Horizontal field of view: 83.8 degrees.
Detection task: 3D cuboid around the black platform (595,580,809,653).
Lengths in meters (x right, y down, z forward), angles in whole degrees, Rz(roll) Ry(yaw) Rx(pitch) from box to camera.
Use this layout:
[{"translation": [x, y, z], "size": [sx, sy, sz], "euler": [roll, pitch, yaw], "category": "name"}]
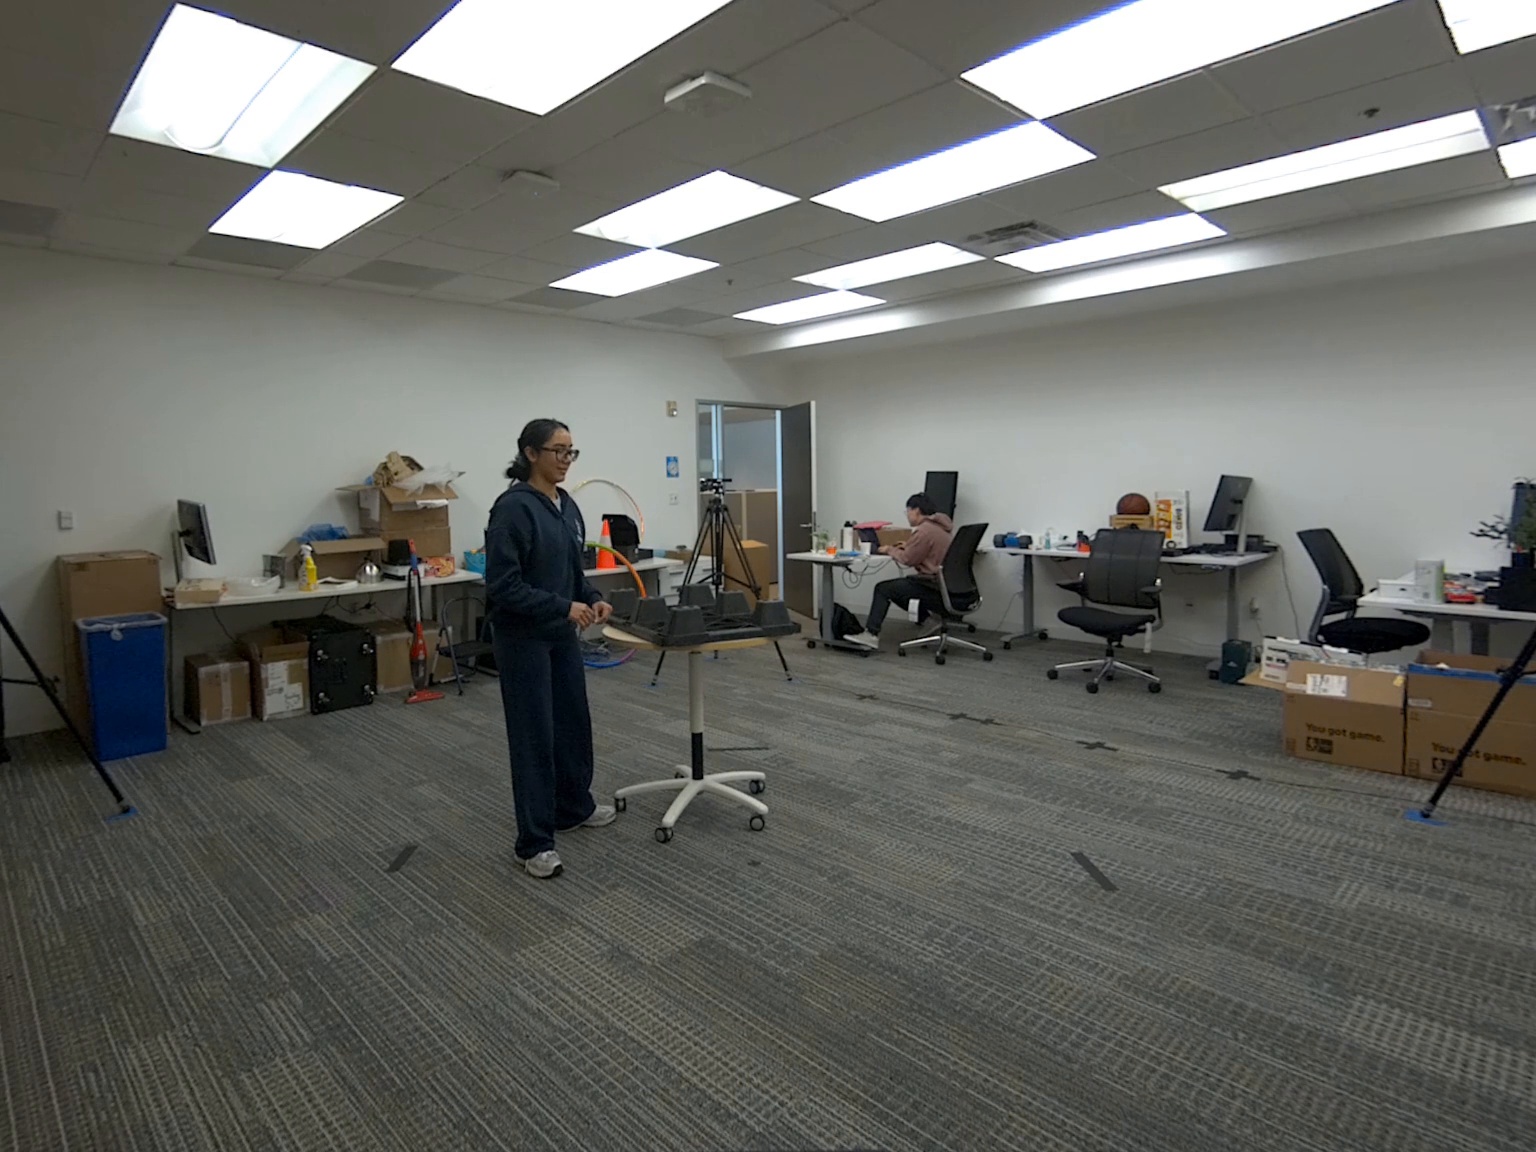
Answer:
[{"translation": [-0.306, 0.148, 3.594], "size": [0.592, 0.142, 0.827], "euler": [-5, 7, -28], "category": "black platform"}]
